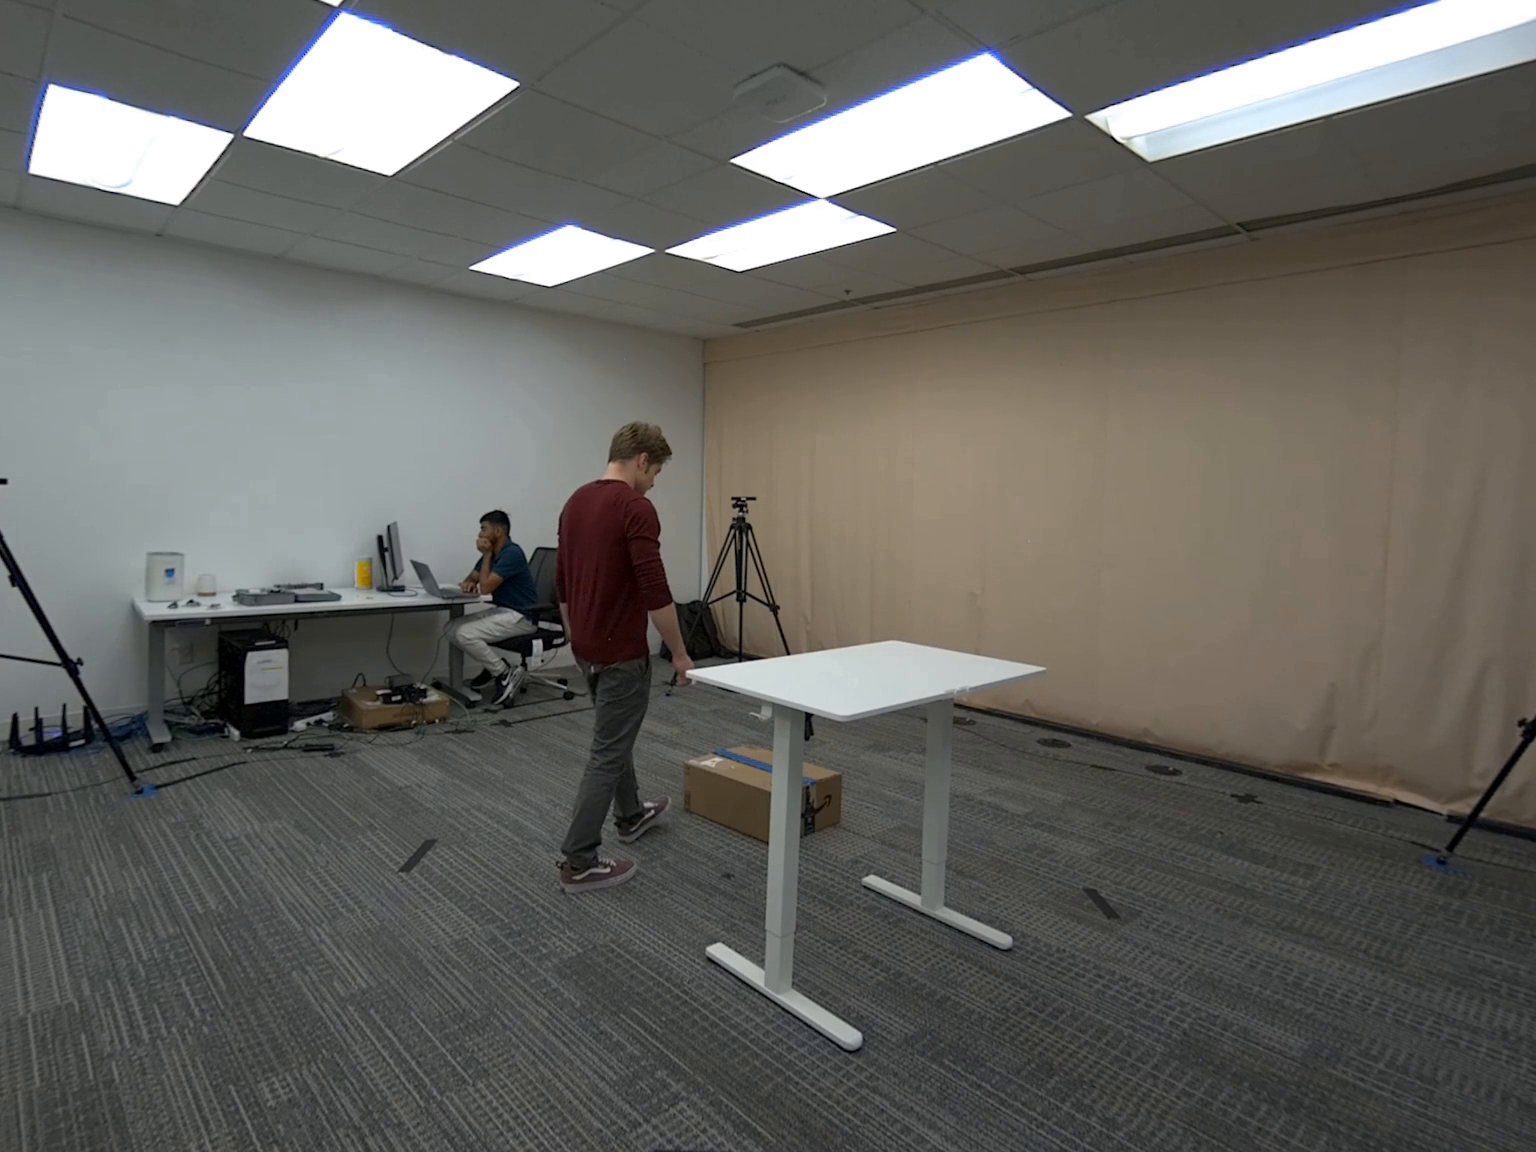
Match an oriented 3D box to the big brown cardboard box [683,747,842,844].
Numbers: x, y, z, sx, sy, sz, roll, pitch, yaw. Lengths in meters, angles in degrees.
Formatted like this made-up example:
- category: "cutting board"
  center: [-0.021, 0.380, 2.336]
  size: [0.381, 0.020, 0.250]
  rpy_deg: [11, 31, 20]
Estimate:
- category: "big brown cardboard box"
  center: [-0.040, 0.948, 3.713]
  size: [0.604, 0.232, 0.408]
  rpy_deg: [6, 6, 43]
